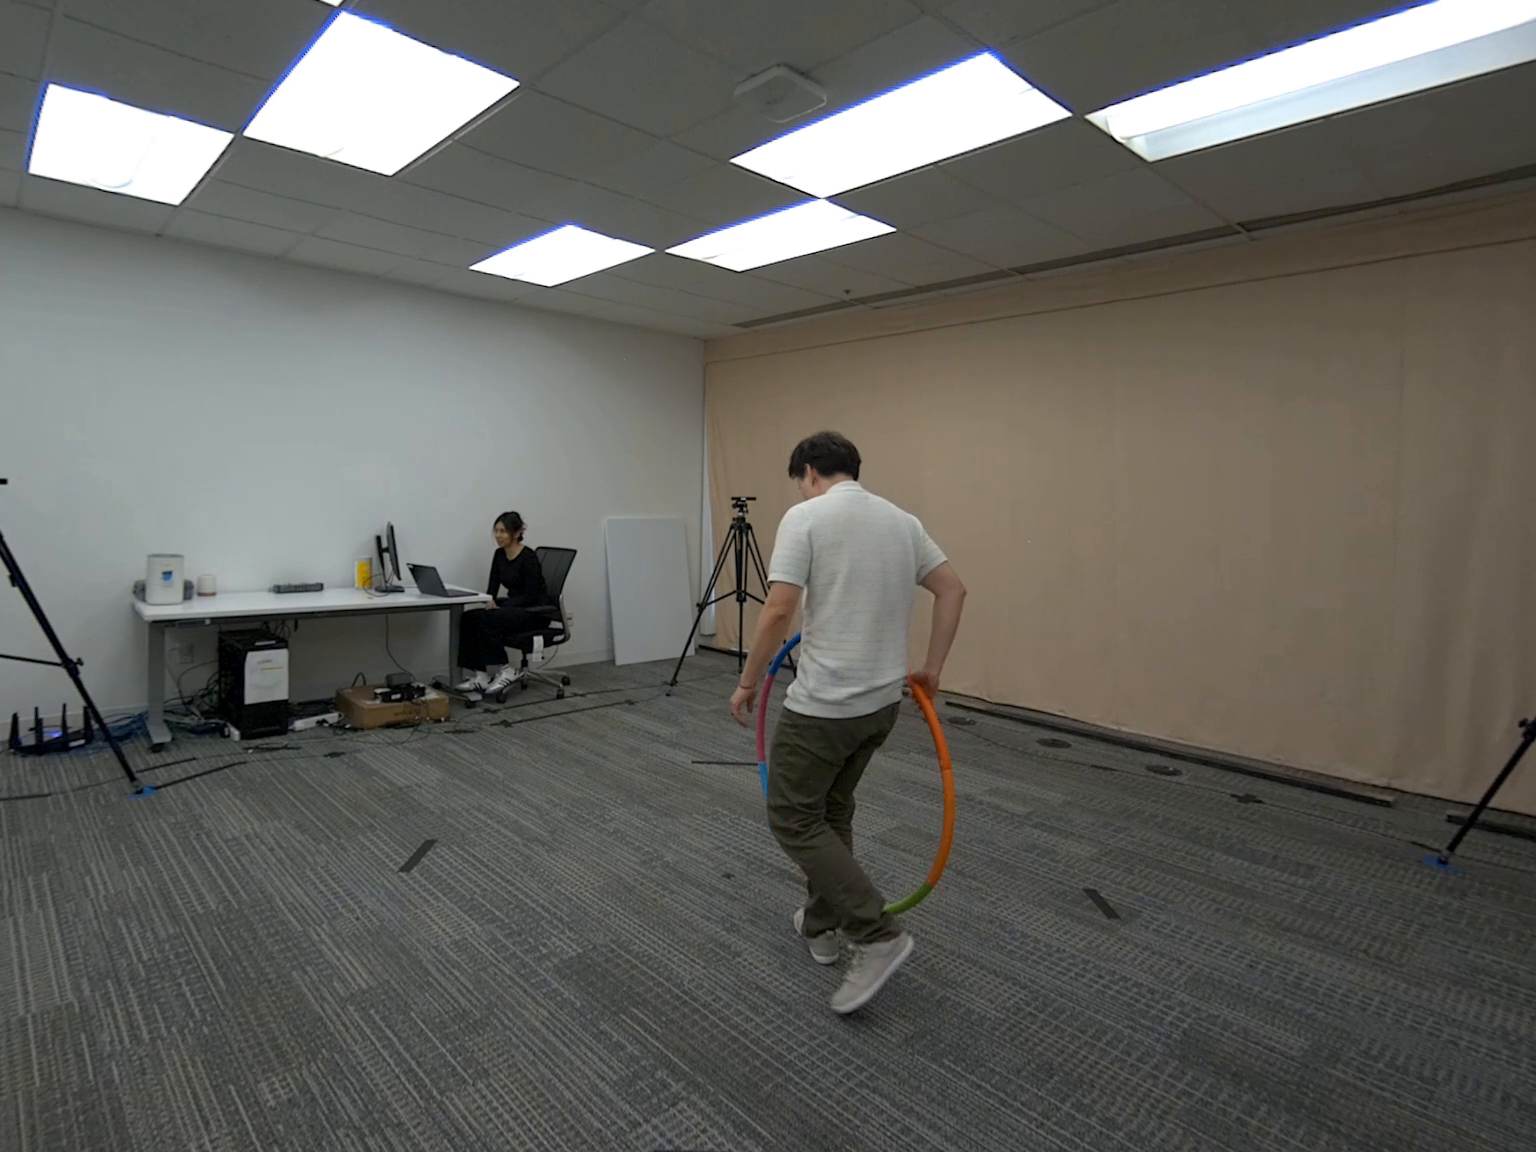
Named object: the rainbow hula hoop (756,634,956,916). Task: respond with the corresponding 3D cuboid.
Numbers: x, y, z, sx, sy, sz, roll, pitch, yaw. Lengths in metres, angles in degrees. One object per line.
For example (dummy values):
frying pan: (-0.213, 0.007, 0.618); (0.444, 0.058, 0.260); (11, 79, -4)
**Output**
rainbow hula hoop: (0.240, 0.653, 2.886); (0.035, 0.976, 1.002); (-1, 5, -34)
